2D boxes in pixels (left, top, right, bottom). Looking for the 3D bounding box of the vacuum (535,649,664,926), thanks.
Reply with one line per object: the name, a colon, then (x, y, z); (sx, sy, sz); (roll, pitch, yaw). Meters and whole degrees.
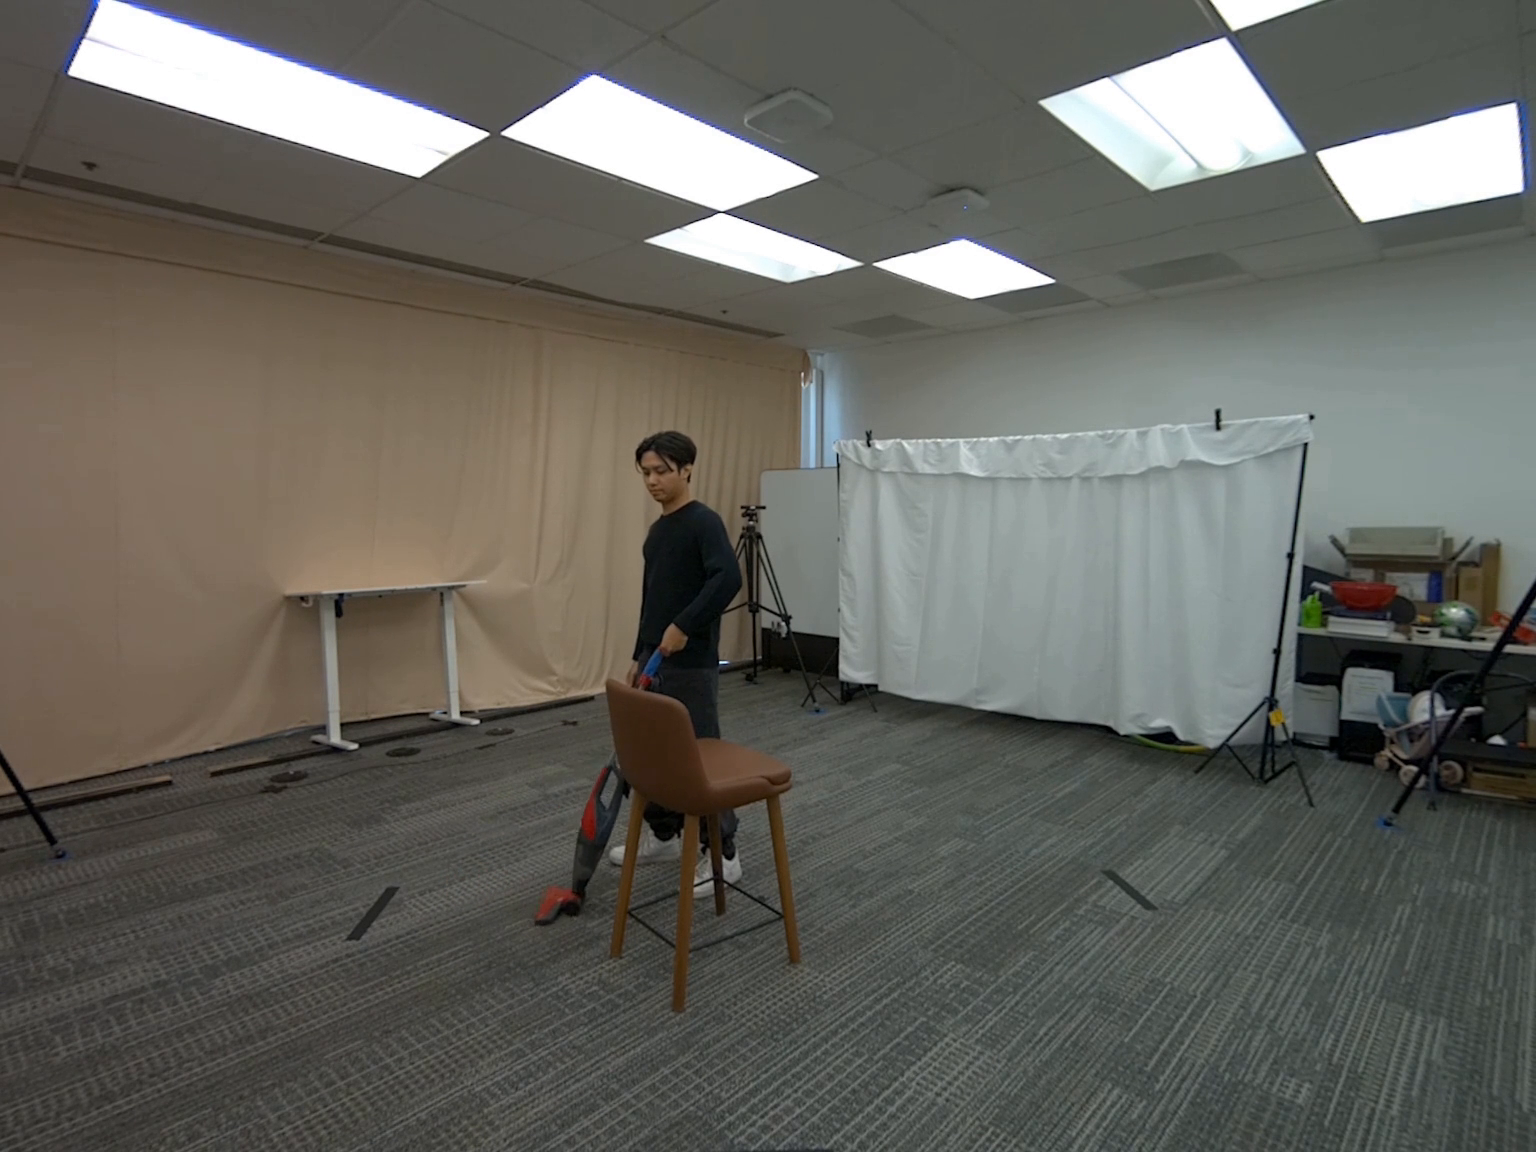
vacuum: (-0.521, 0.672, 2.899); (0.143, 1.049, 0.255); (24, 4, -8)
